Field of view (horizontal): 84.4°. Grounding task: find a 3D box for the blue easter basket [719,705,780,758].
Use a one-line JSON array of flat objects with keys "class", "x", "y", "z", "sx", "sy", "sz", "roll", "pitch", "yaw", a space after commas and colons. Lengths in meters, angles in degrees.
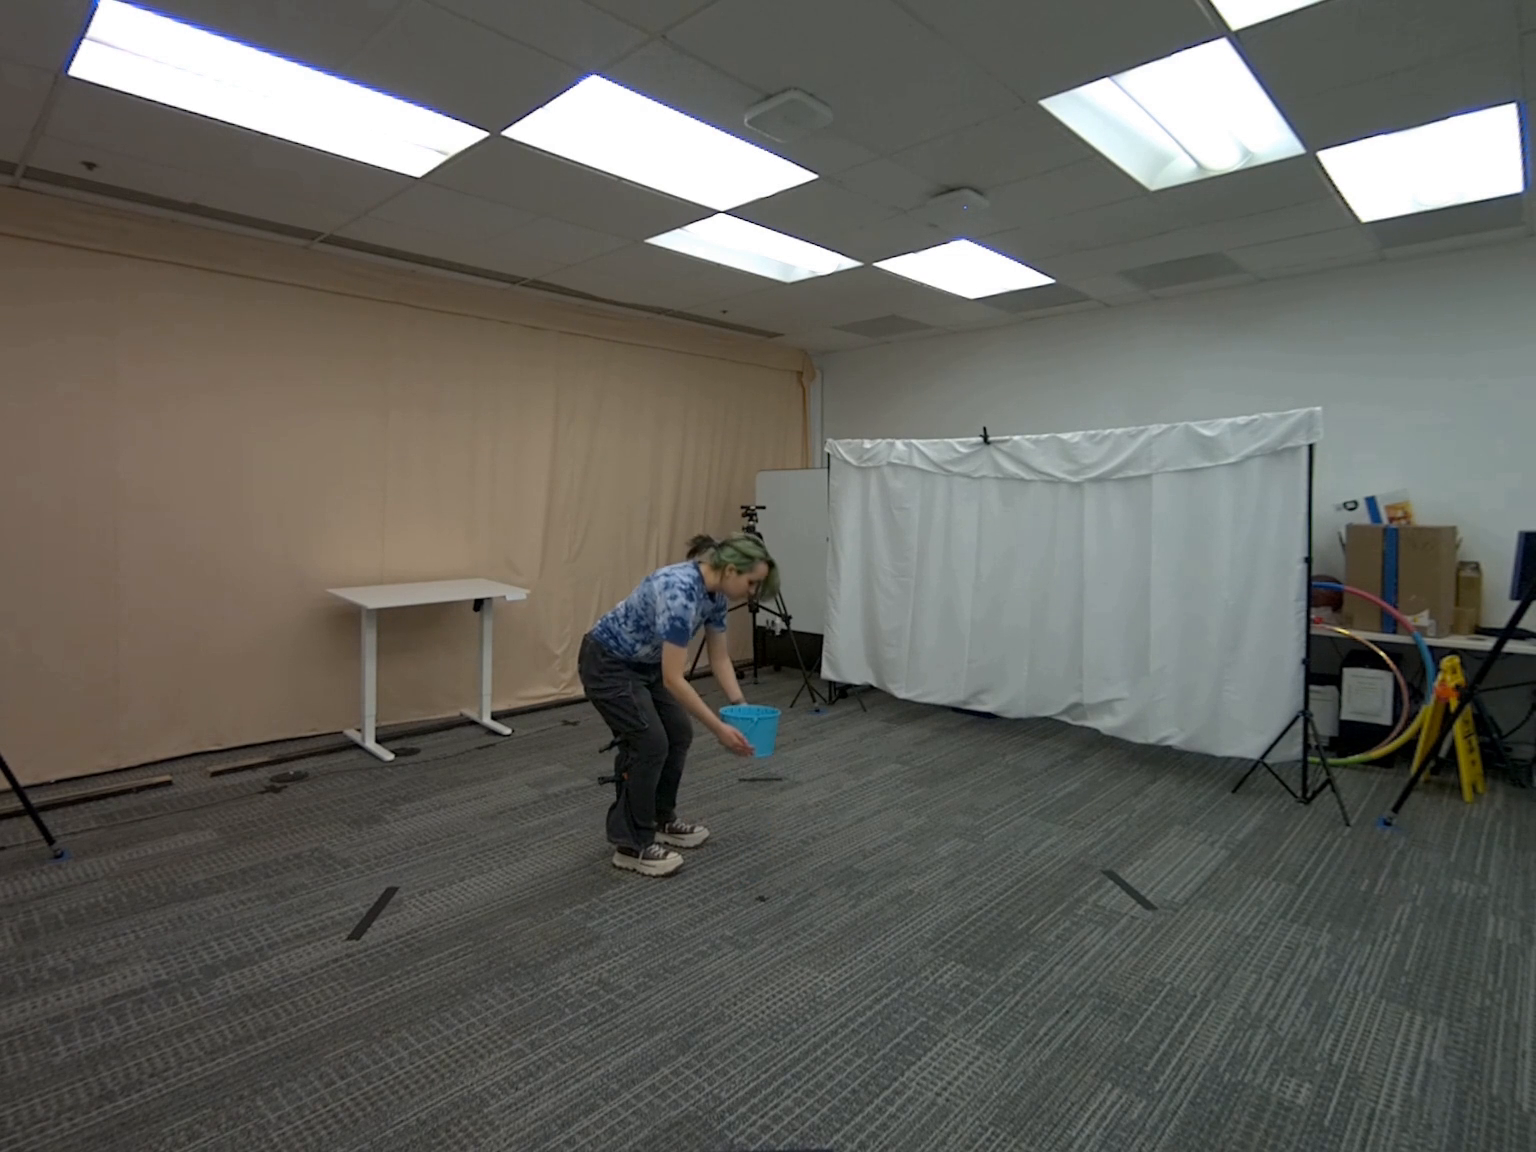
[{"class": "blue easter basket", "x": -0.070, "y": 0.586, "z": 3.180, "sx": 0.243, "sy": 0.156, "sz": 0.244, "roll": 2, "pitch": 2, "yaw": -2}]
